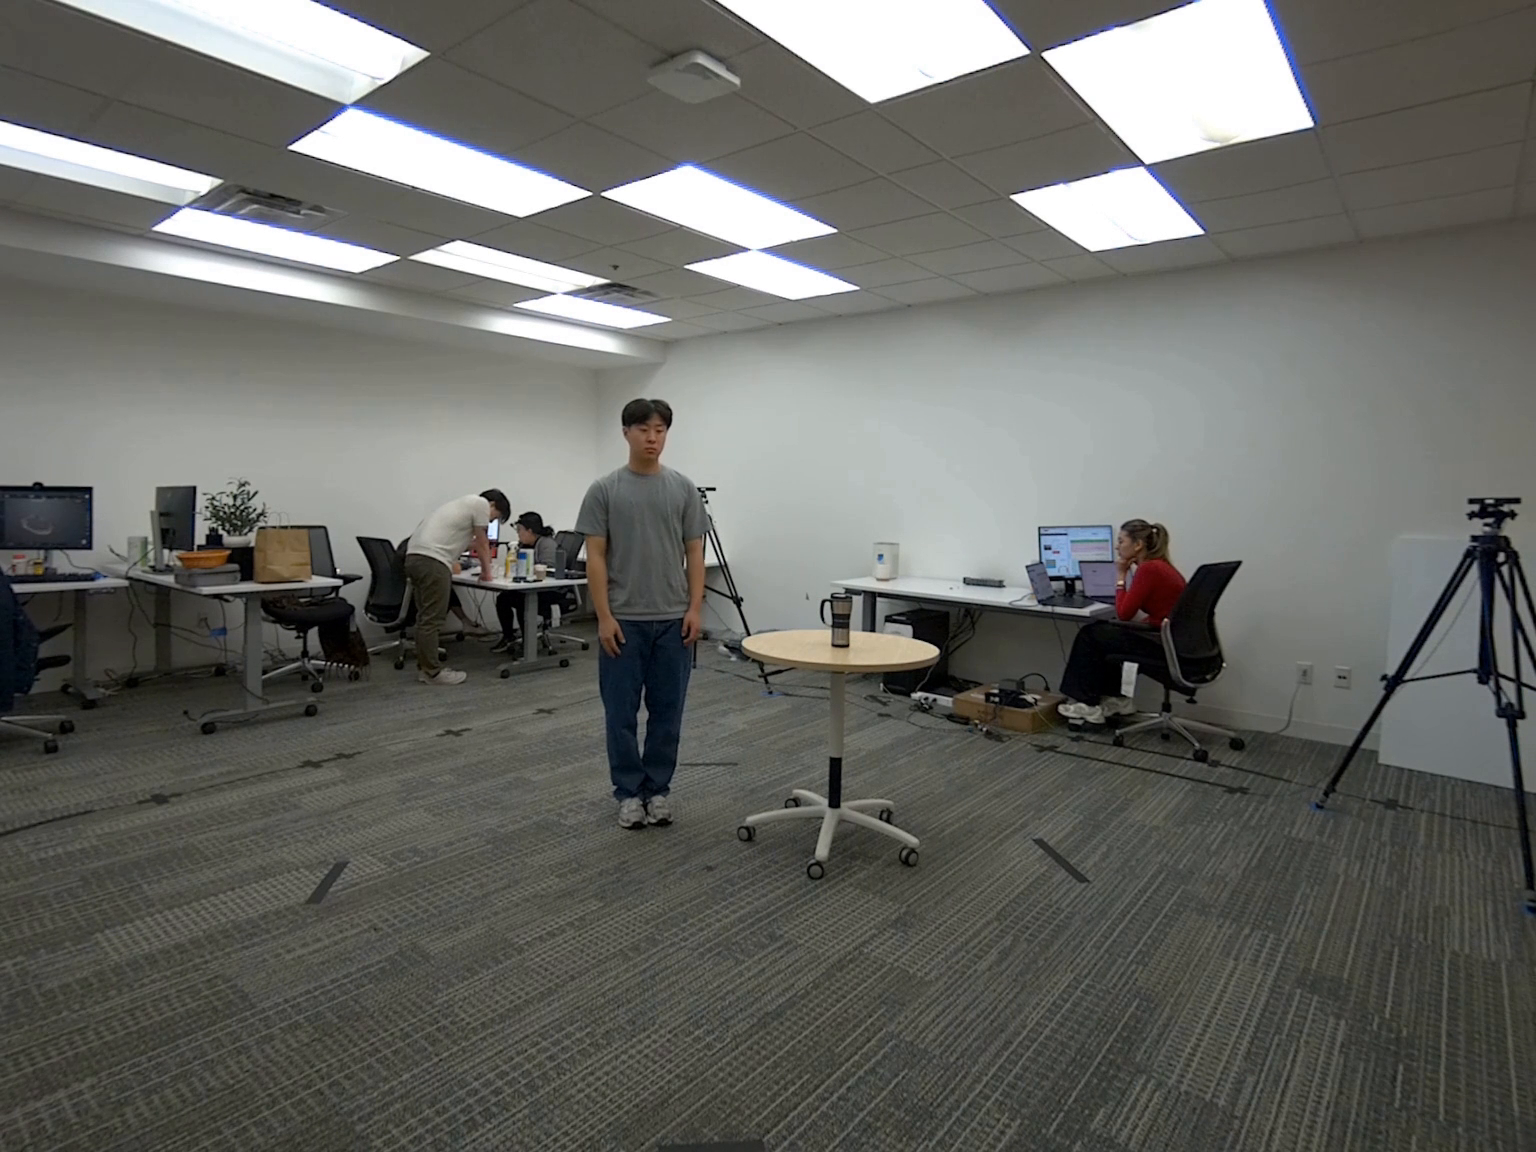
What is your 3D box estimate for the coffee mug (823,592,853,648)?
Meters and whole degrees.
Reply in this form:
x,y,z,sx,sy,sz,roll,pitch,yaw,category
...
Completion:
x,y,z,sx,sy,sz,roll,pitch,yaw,category
0.261,0.168,3.325,0.126,0.201,0.086,8,11,31,coffee mug
